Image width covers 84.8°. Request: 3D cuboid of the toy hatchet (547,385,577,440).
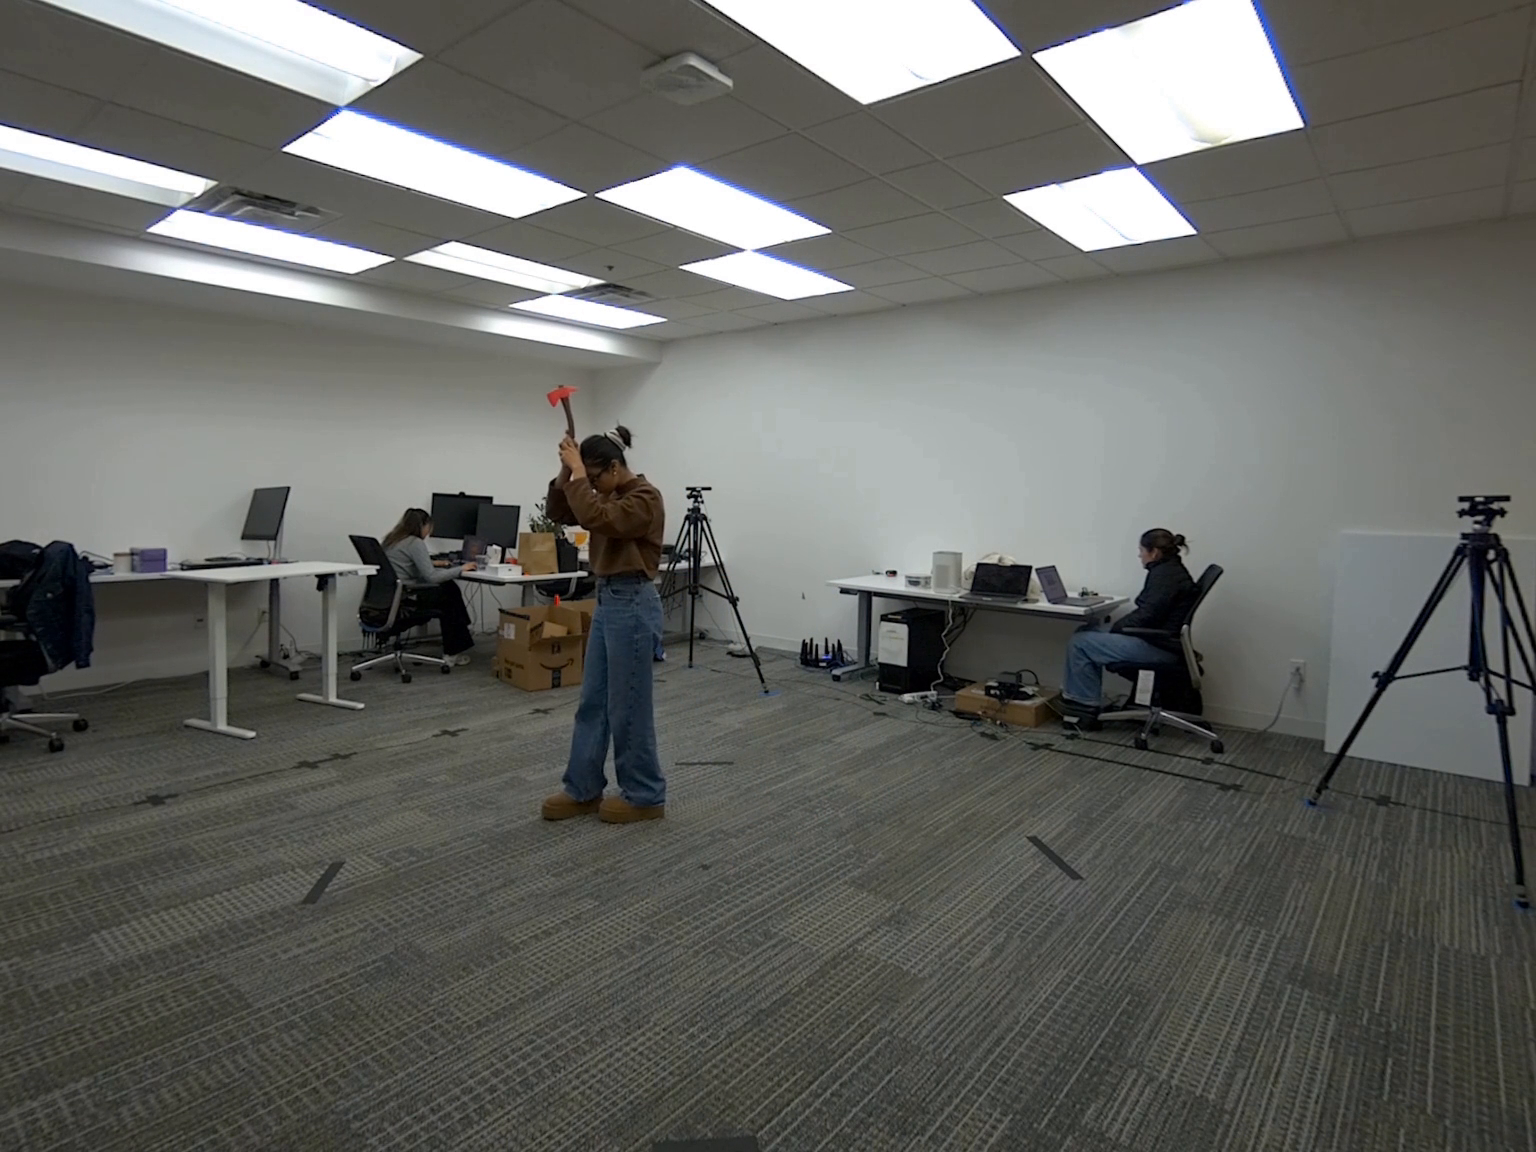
[{"bbox_3d":[-0.846,-0.643,3.419,0.127,0.271,0.030,2,-4,-30],"label":"toy hatchet"}]
